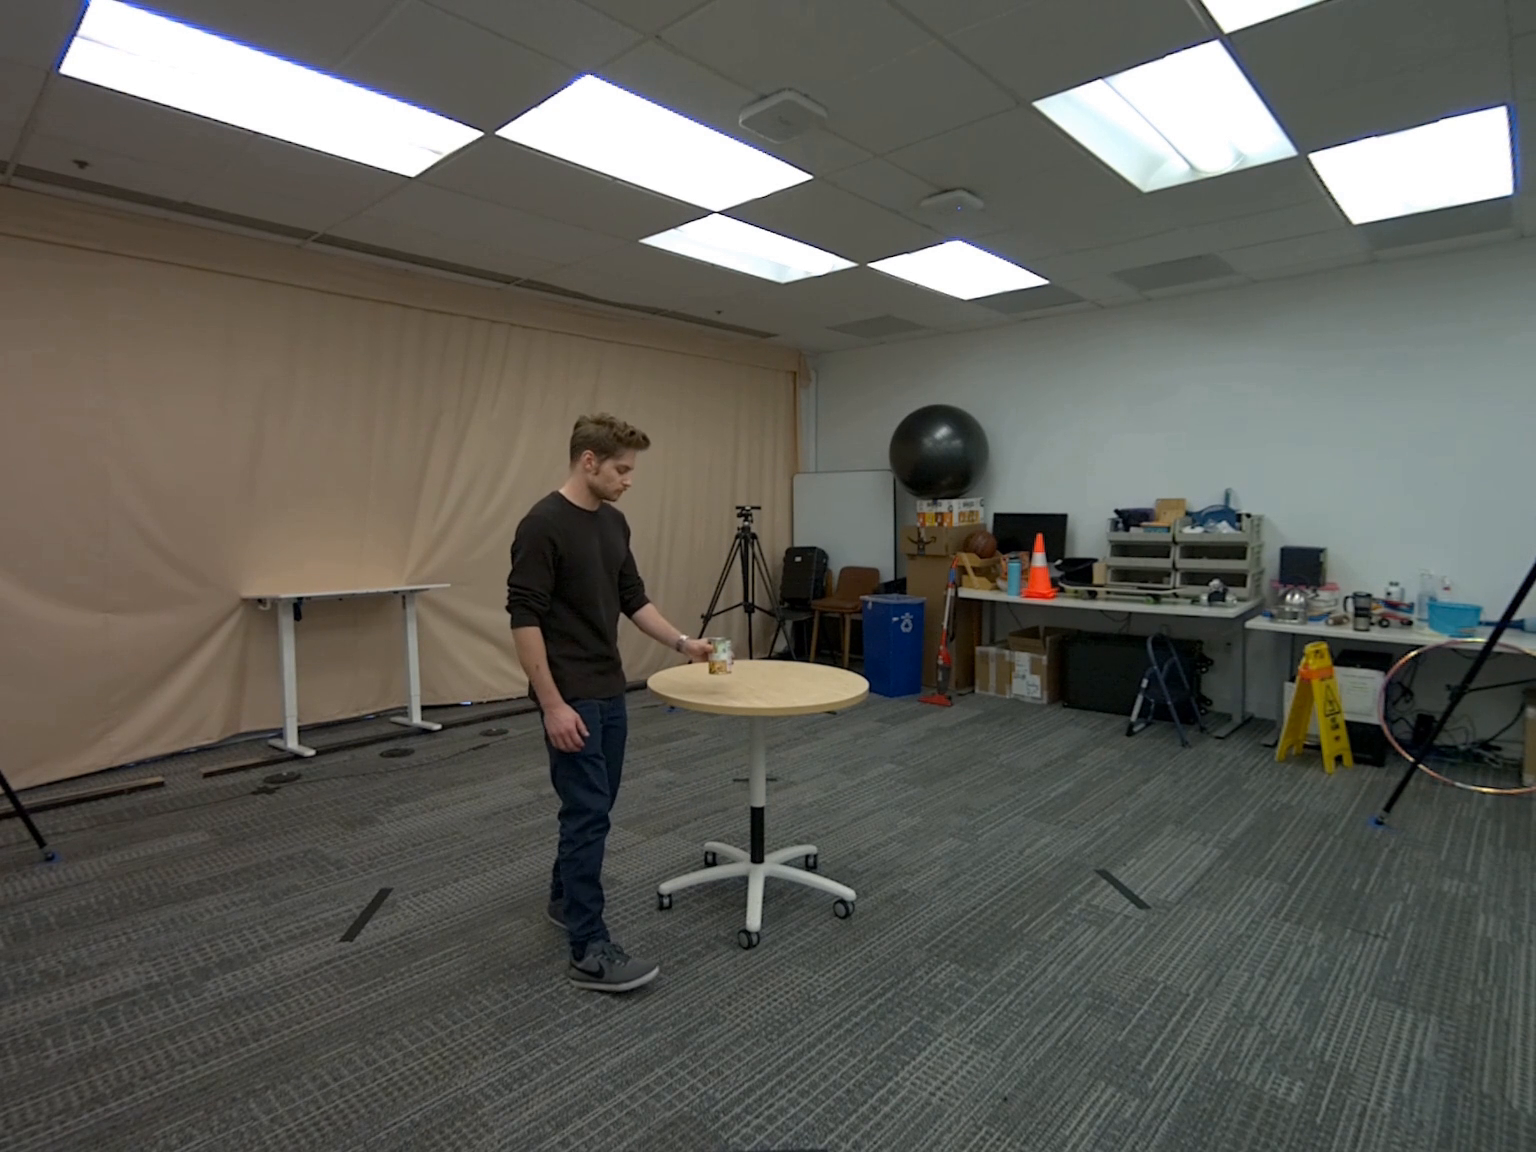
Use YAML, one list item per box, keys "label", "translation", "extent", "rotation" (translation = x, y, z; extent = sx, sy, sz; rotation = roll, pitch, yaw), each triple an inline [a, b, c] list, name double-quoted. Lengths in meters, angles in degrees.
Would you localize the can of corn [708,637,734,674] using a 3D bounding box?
- label: "can of corn"
  translation: [-0.158, 0.254, 2.707]
  extent: [0.074, 0.111, 0.074]
  rotation: [-3, -2, -2]
